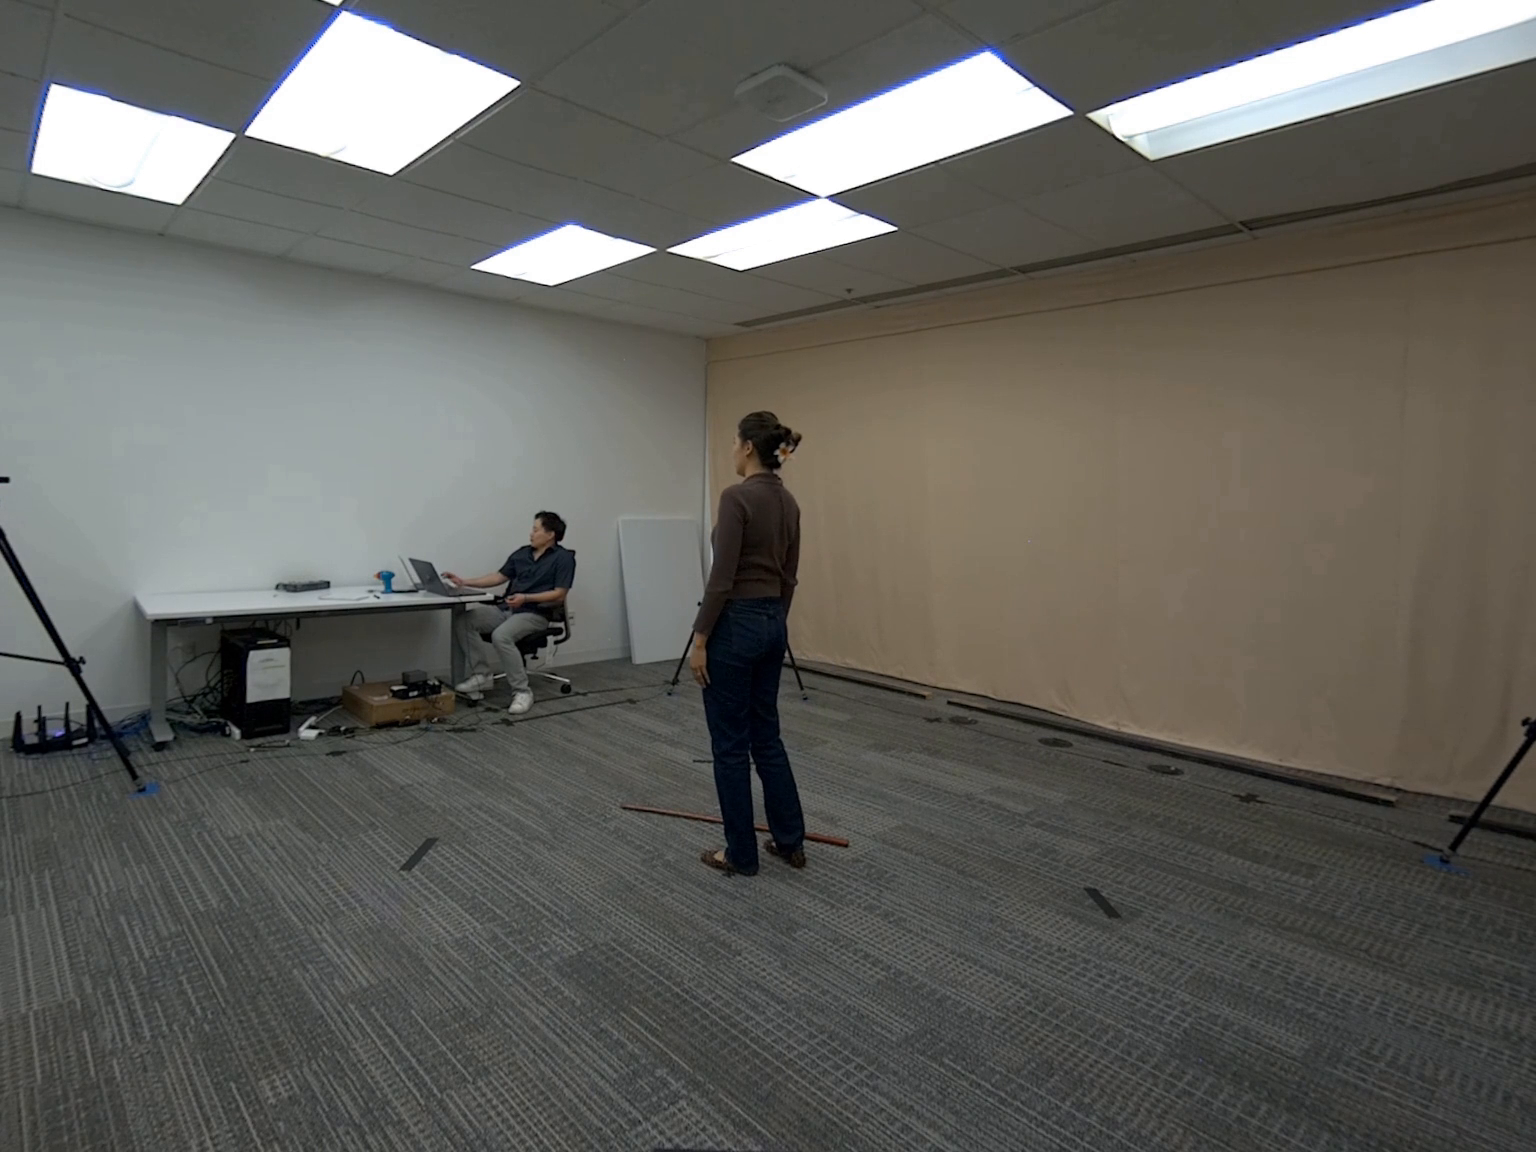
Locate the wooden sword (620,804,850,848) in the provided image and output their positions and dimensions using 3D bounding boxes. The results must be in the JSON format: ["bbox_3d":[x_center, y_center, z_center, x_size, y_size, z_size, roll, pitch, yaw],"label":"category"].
[{"bbox_3d":[-0.158,1.033,3.566,1.041,0.051,0.023,2,-11,20],"label":"wooden sword"}]
